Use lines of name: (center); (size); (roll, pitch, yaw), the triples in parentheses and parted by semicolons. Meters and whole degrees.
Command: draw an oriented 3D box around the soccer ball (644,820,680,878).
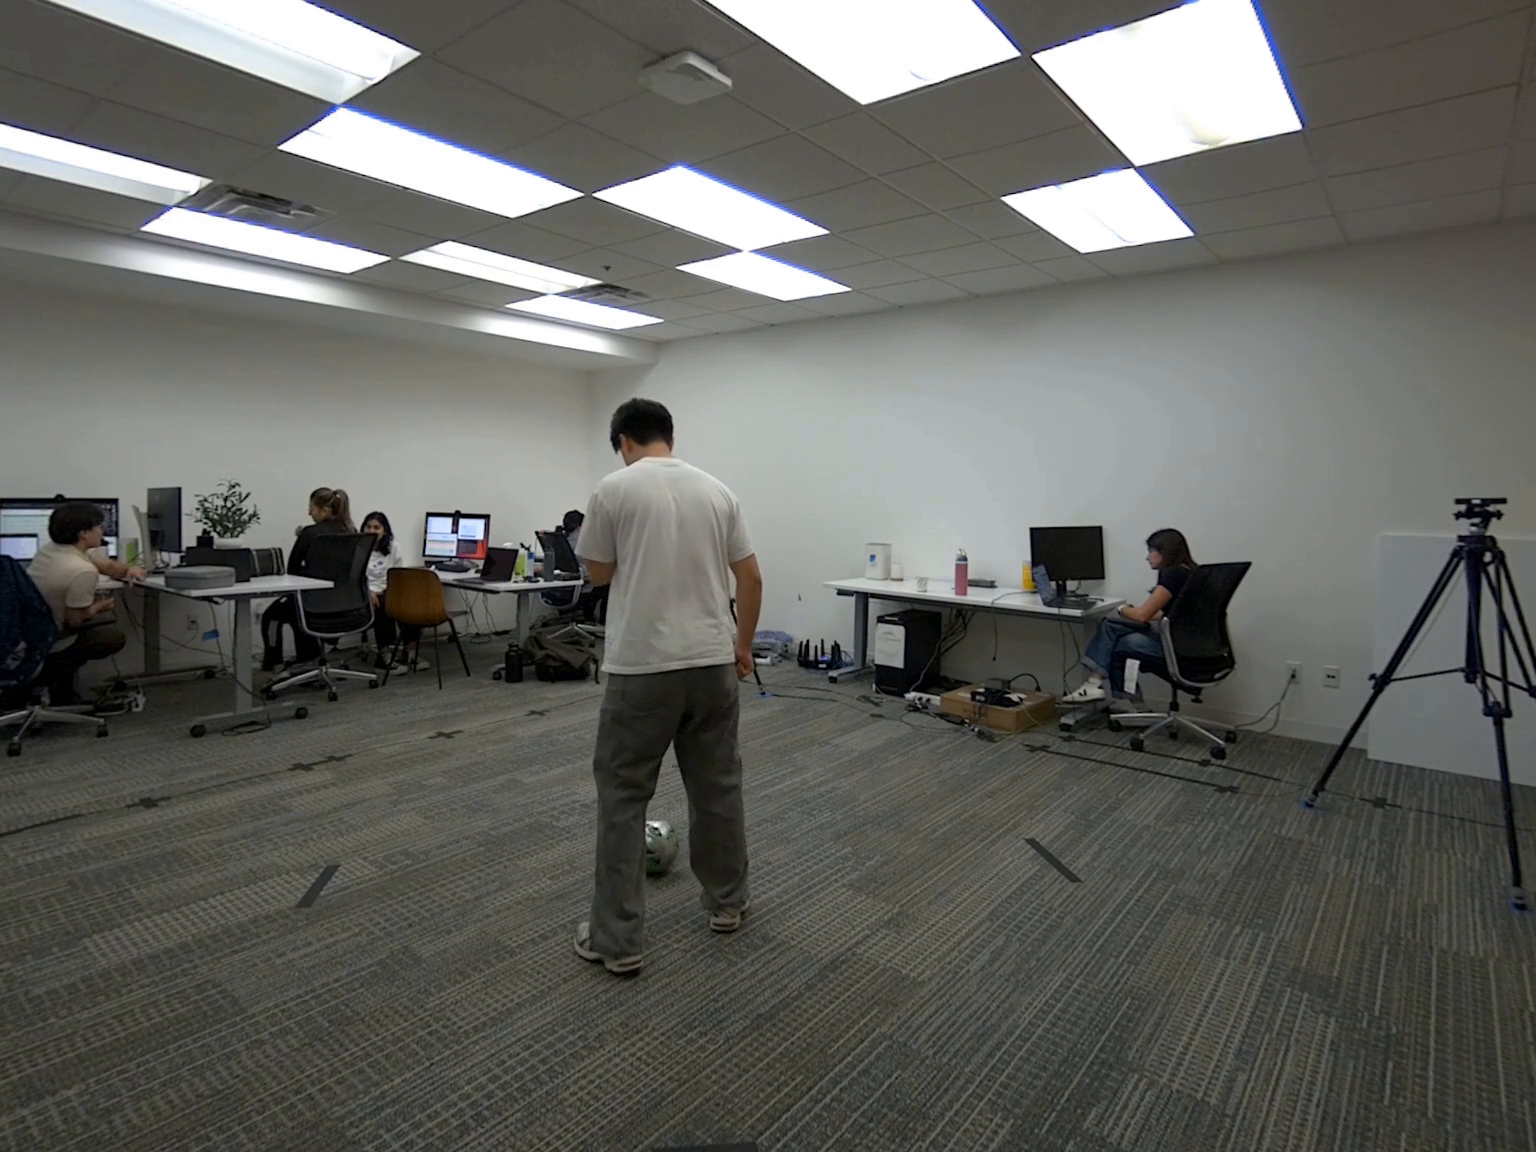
soccer ball: (-0.412, 0.971, 3.085); (0.187, 0.187, 0.188); (1, 4, -2)
